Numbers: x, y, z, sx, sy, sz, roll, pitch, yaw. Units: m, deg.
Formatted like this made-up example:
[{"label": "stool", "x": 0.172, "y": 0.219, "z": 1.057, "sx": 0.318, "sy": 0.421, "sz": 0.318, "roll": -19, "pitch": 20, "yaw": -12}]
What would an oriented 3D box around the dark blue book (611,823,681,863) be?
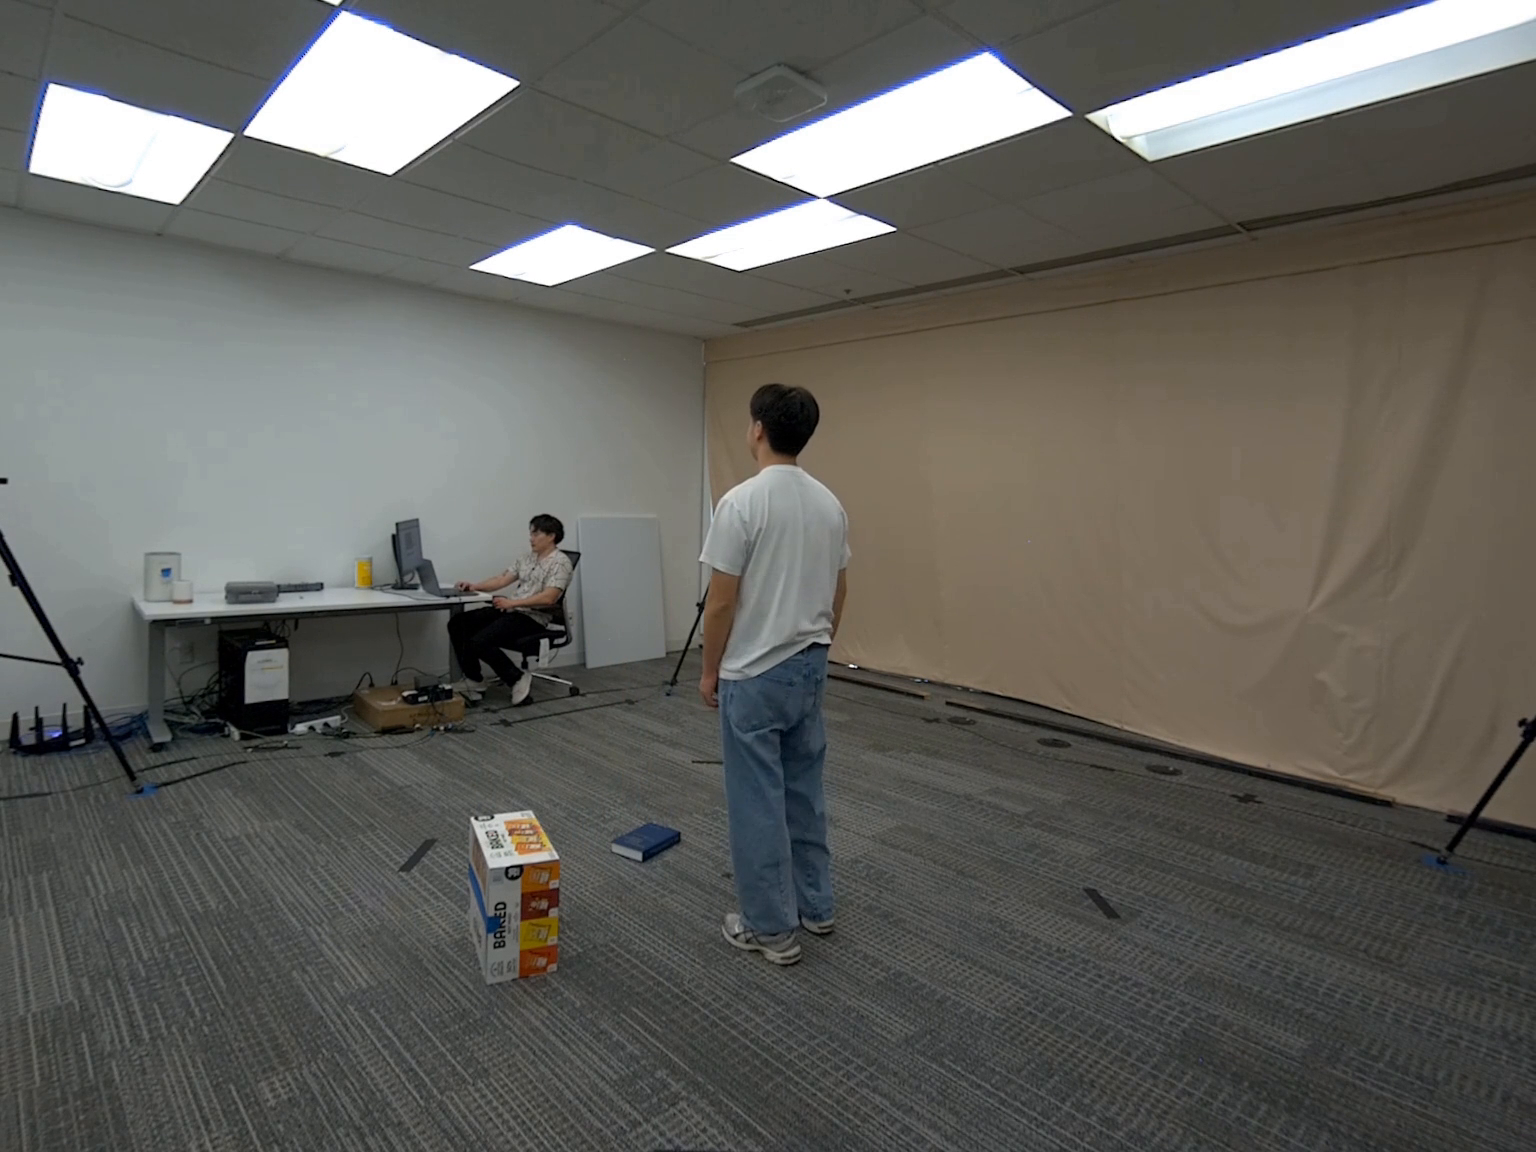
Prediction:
[{"label": "dark blue book", "x": -0.493, "y": 1.055, "z": 3.338, "sx": 0.167, "sy": 0.045, "sz": 0.240, "roll": 5, "pitch": 6, "yaw": 32}]
